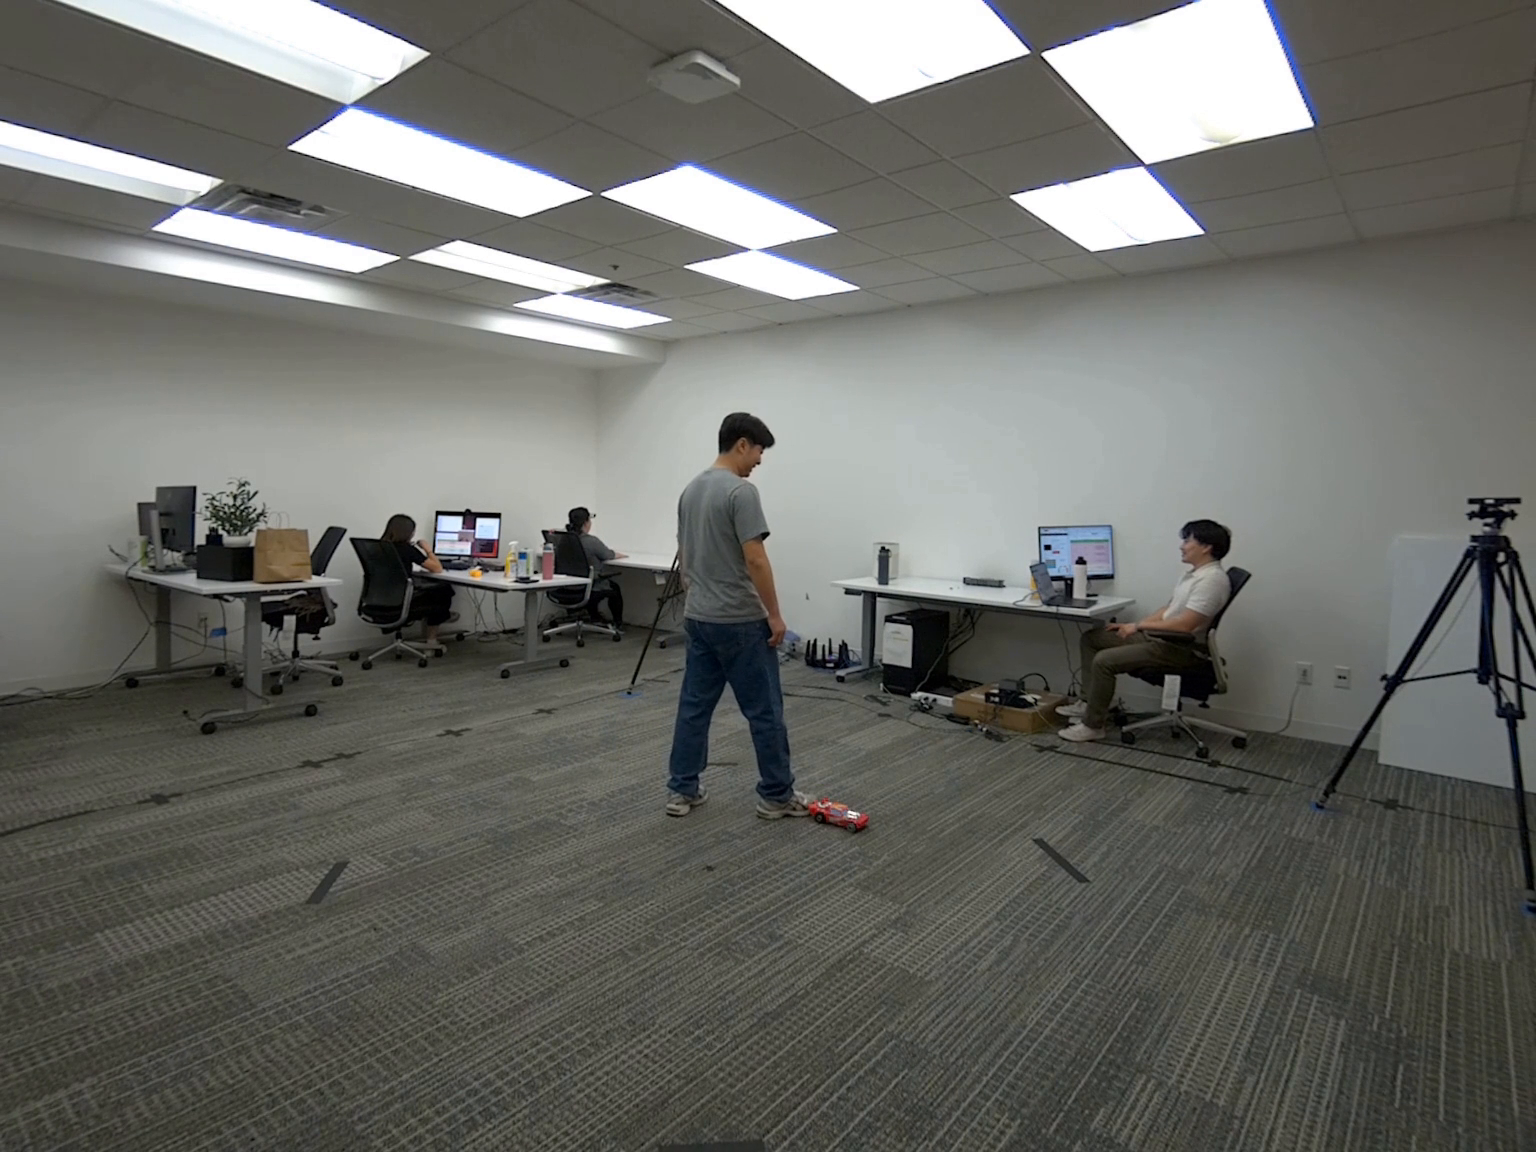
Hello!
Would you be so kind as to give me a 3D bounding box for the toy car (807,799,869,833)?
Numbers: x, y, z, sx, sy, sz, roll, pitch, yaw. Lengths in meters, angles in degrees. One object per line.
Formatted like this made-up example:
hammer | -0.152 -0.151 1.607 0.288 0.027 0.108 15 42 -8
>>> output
toy car | 0.281 1.000 3.572 0.264 0.082 0.127 18 13 33
